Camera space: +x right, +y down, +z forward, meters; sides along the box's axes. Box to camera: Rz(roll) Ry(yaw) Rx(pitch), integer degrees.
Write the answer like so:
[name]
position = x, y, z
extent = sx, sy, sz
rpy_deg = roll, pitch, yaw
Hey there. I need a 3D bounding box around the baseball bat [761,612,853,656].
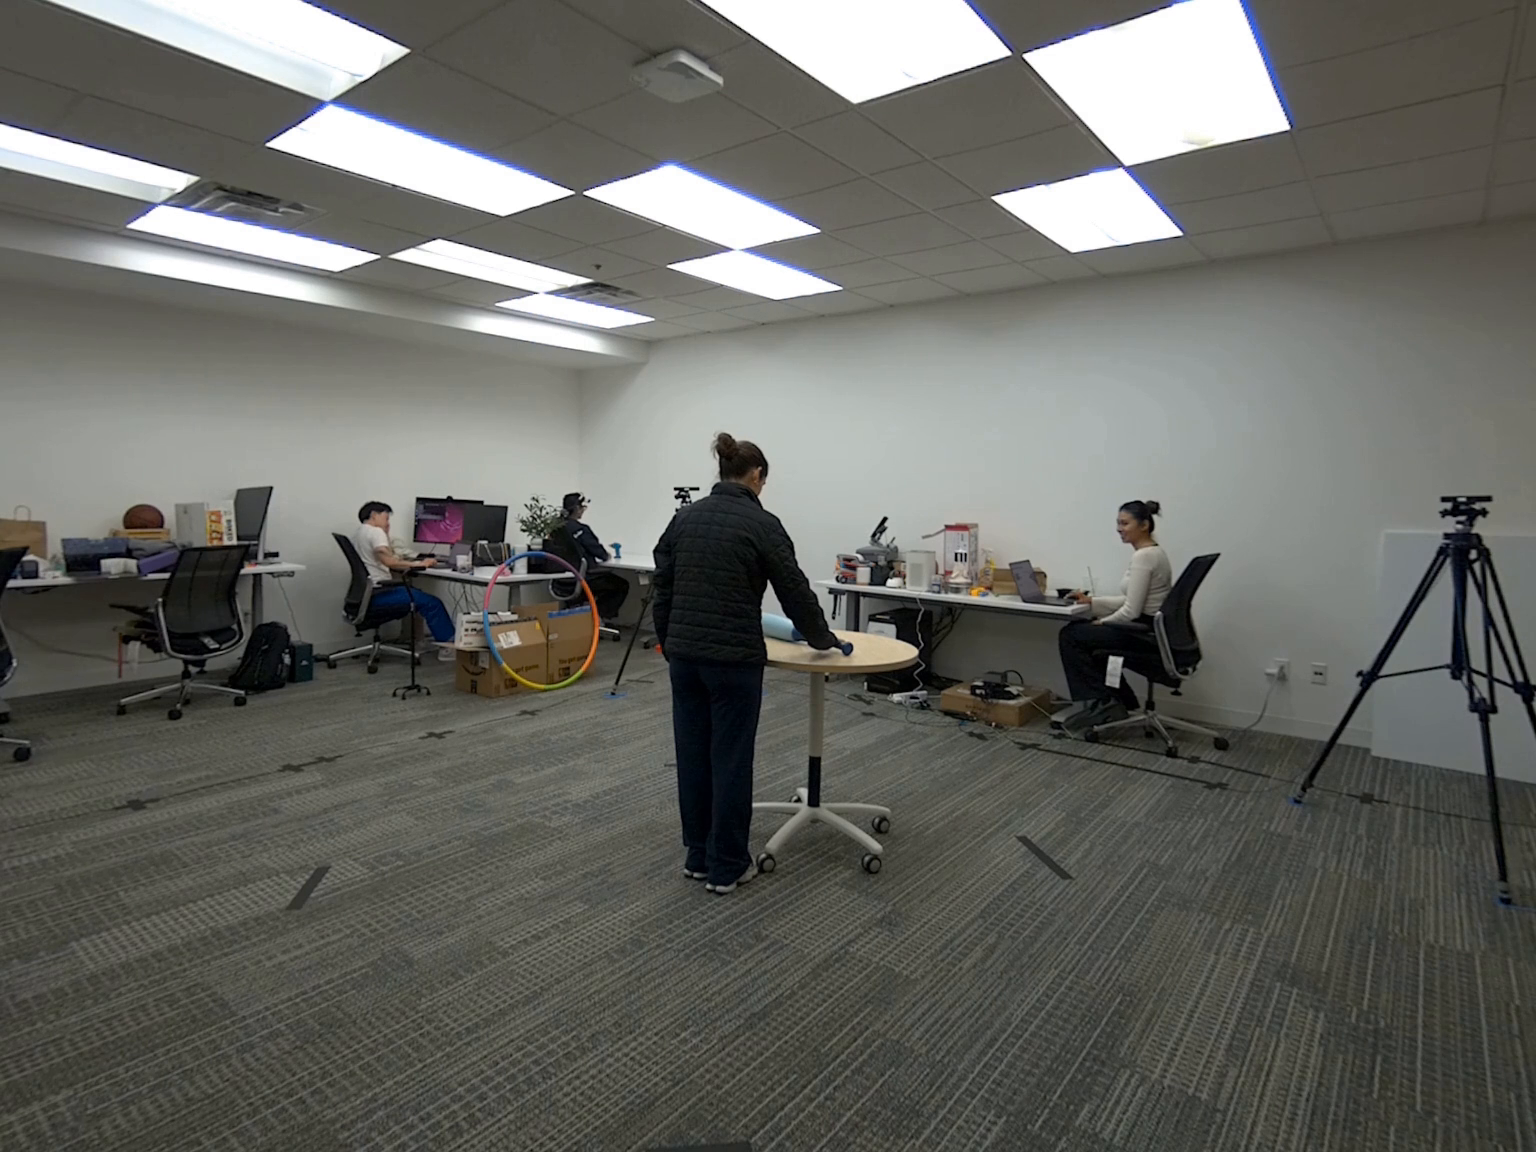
[baseball bat]
position = 0.148, 0.227, 3.354
extent = 0.086, 0.088, 0.563
rpy_deg = -3, 10, -39
